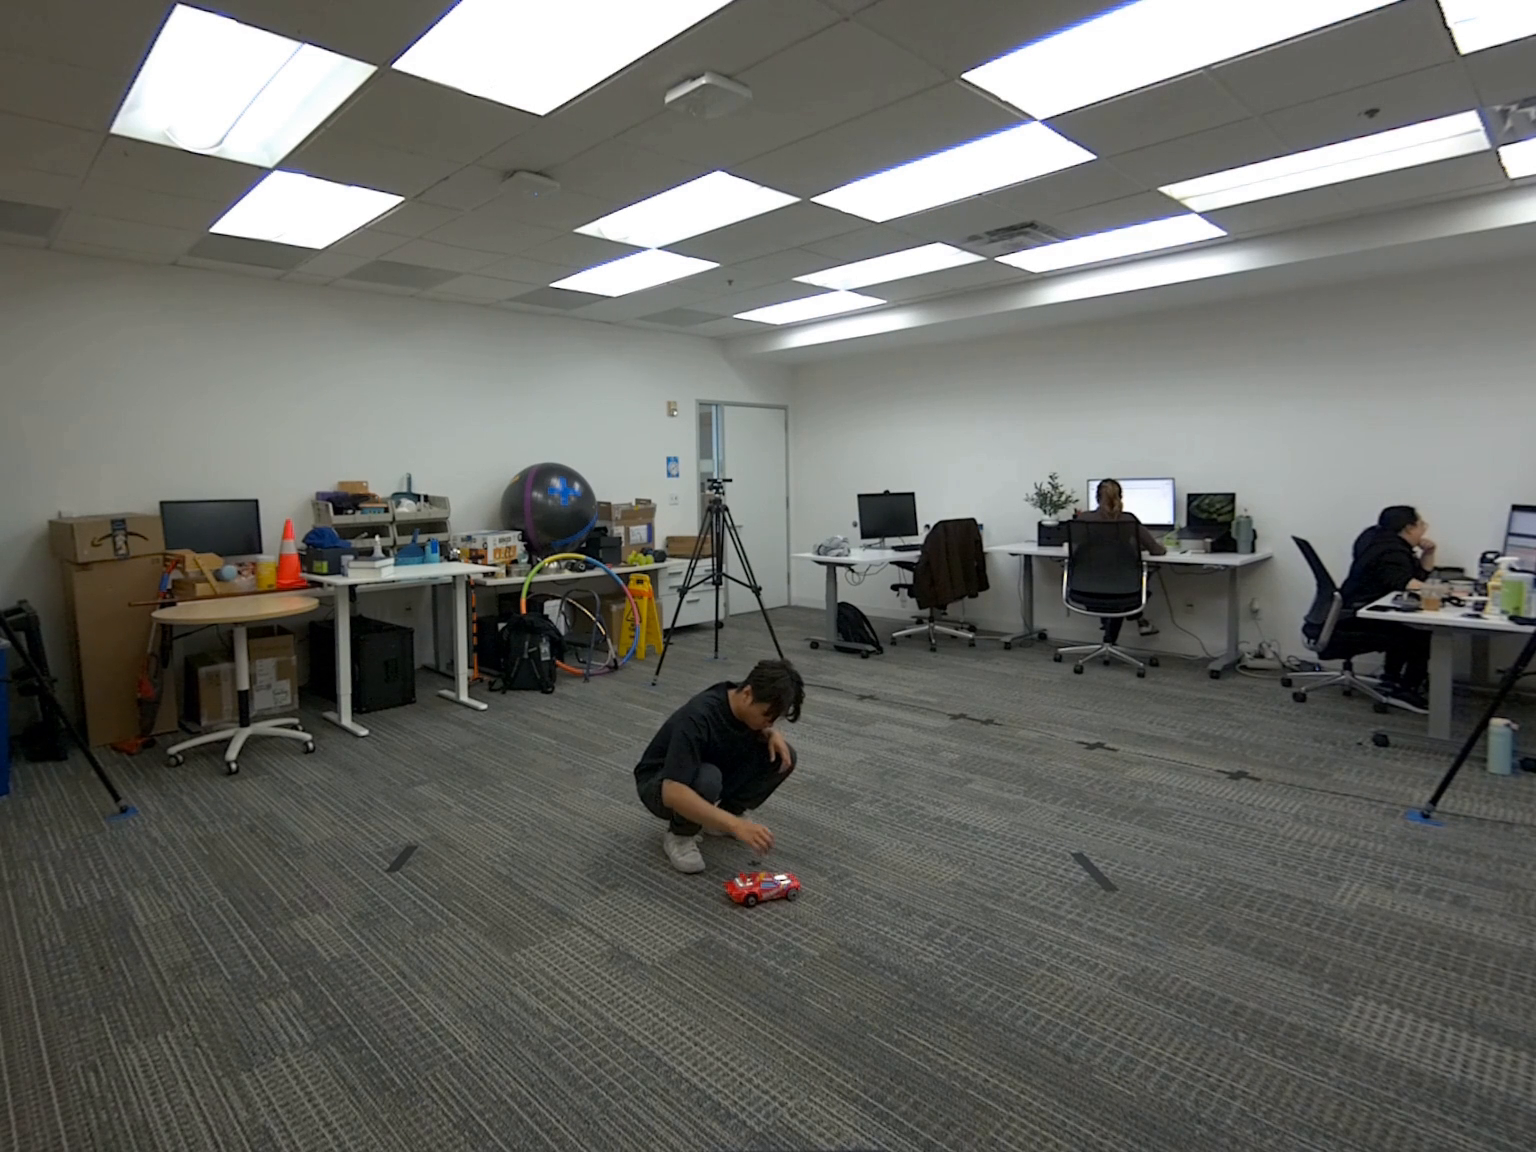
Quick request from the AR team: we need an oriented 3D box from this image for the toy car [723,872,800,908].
[{"bbox_3d":[-0.028,1.051,2.855,0.250,0.083,0.133,7,3,-17],"label":"toy car"}]
